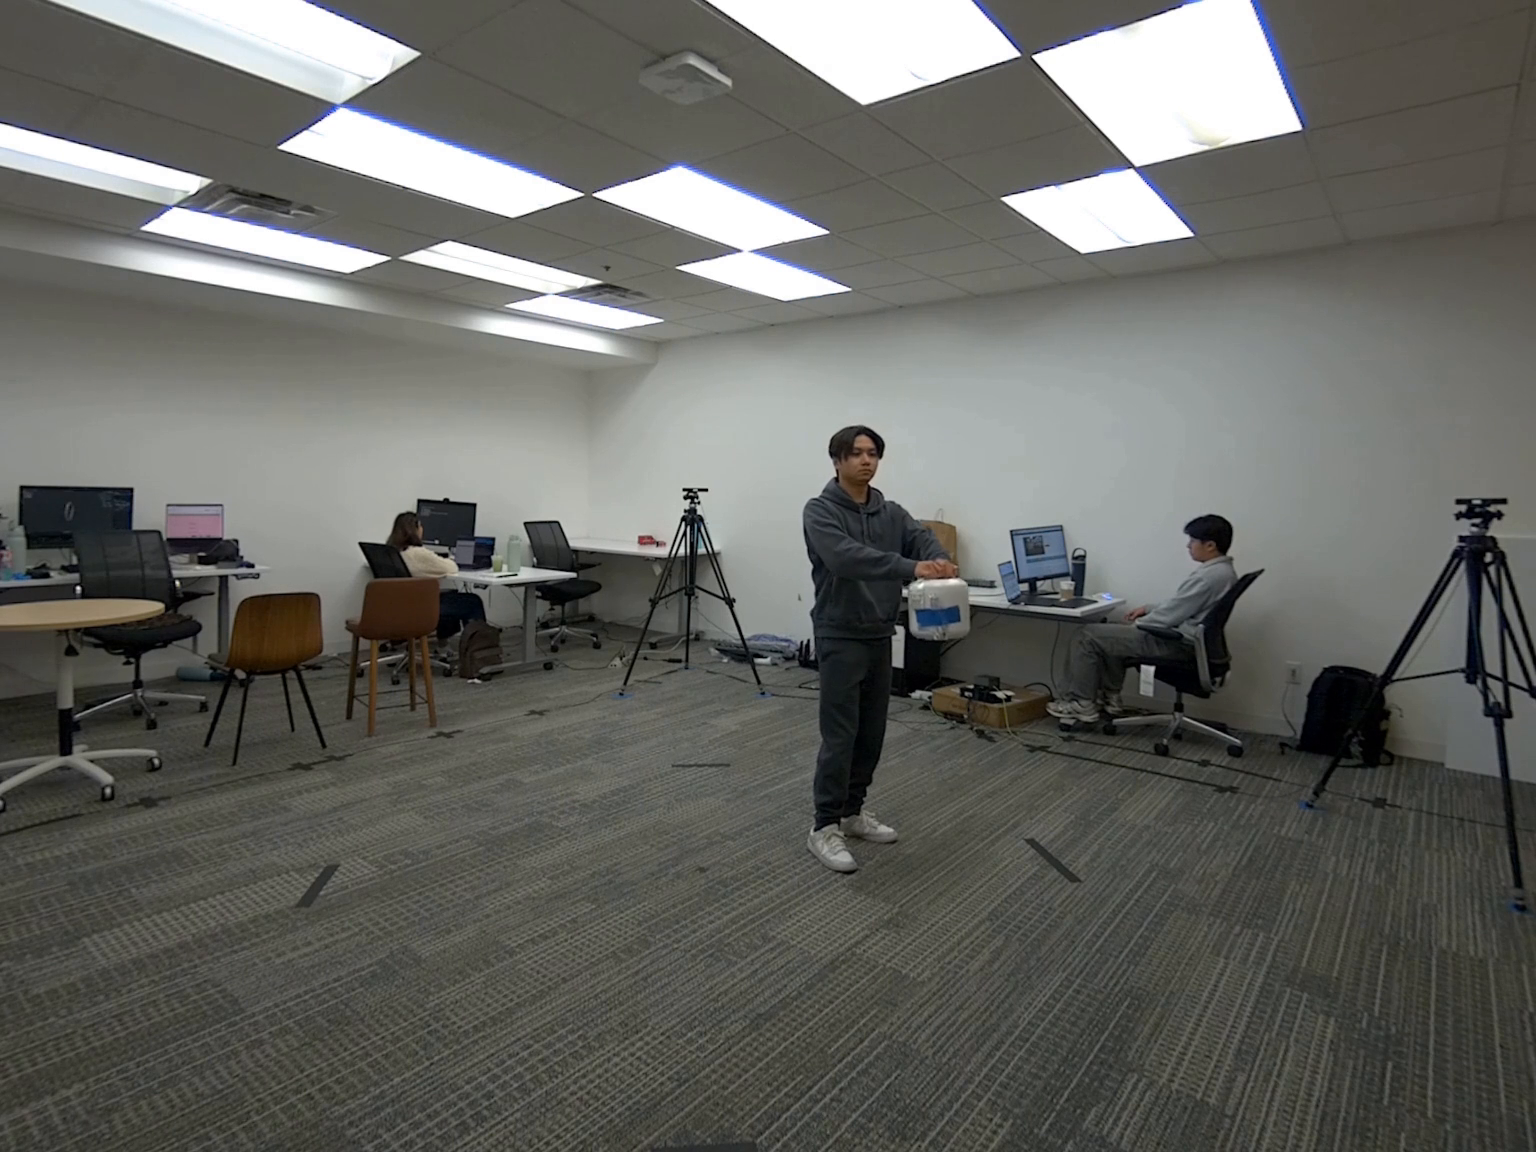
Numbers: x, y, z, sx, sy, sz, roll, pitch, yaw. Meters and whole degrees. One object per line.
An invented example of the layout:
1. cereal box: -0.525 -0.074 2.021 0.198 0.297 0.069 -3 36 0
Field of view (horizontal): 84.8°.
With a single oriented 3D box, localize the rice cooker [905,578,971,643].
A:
1. rice cooker: 0.591 0.095 3.021 0.215 0.233 0.223 -2 1 -31
